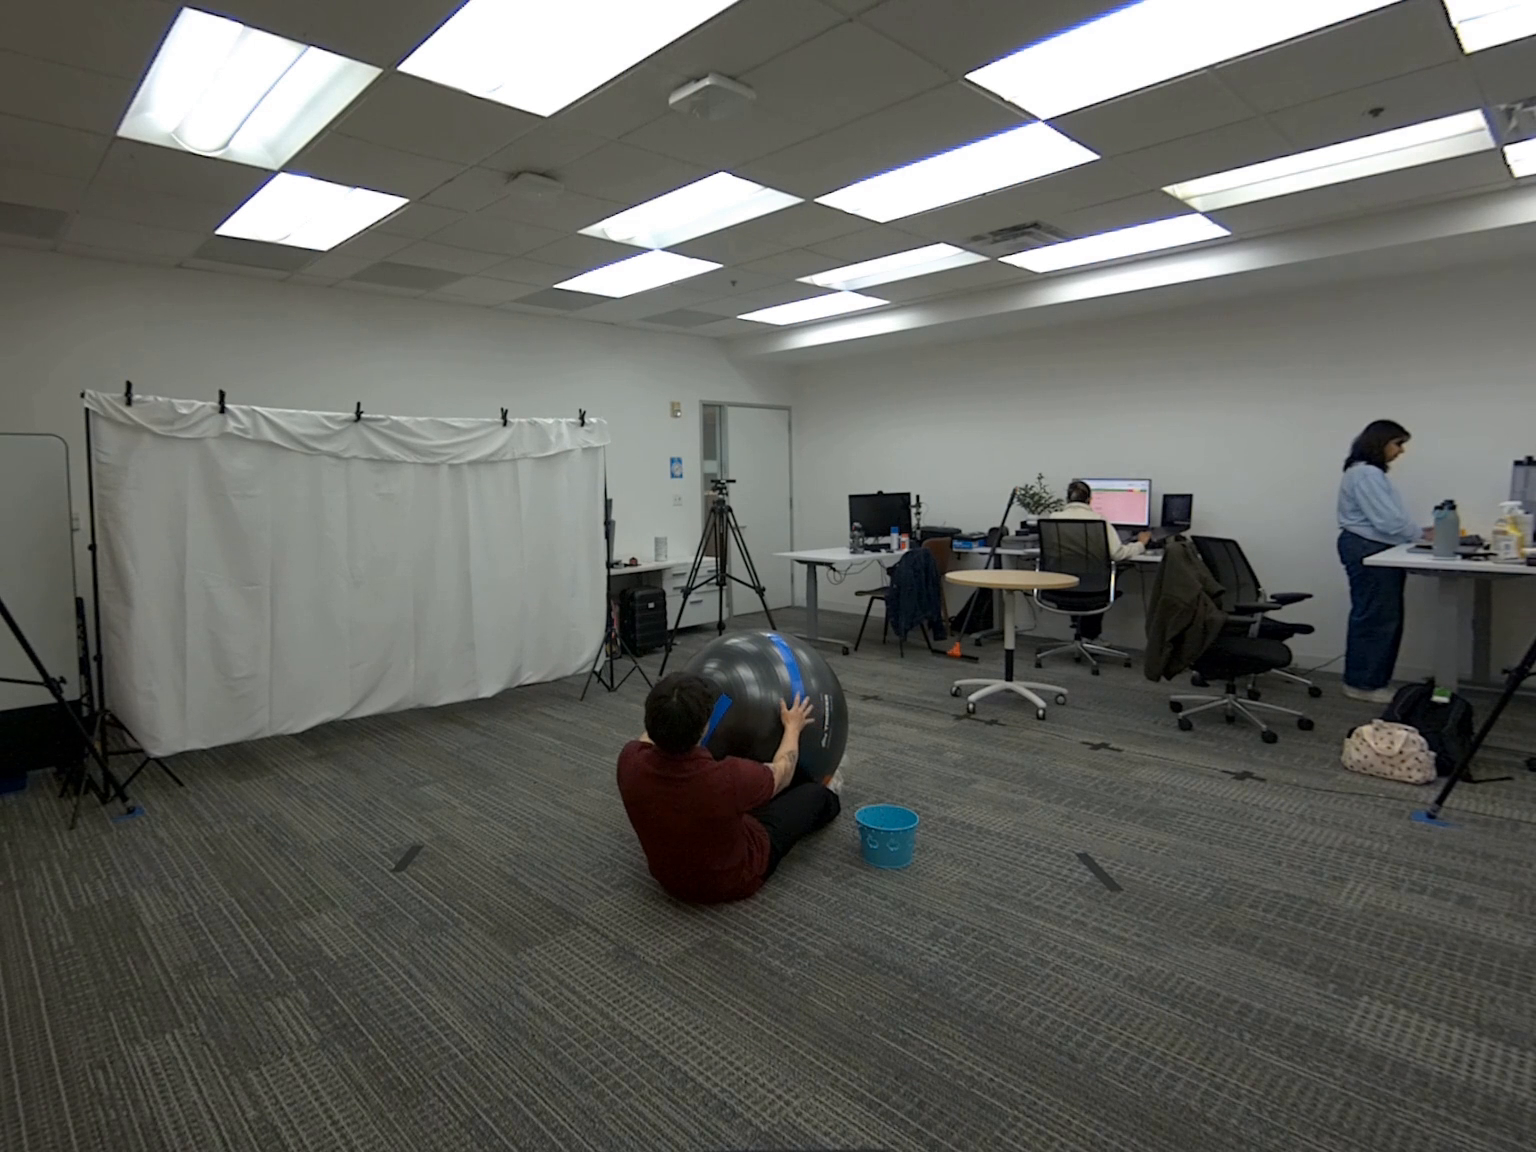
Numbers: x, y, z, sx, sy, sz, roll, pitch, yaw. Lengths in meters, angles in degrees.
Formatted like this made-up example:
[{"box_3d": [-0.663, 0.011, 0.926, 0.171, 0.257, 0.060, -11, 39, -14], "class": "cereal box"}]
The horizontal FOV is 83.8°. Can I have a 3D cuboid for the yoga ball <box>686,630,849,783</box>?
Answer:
[{"box_3d": [-0.051, 0.605, 3.578, 0.757, 0.755, 0.762, -1, 5, -2], "class": "yoga ball"}]
